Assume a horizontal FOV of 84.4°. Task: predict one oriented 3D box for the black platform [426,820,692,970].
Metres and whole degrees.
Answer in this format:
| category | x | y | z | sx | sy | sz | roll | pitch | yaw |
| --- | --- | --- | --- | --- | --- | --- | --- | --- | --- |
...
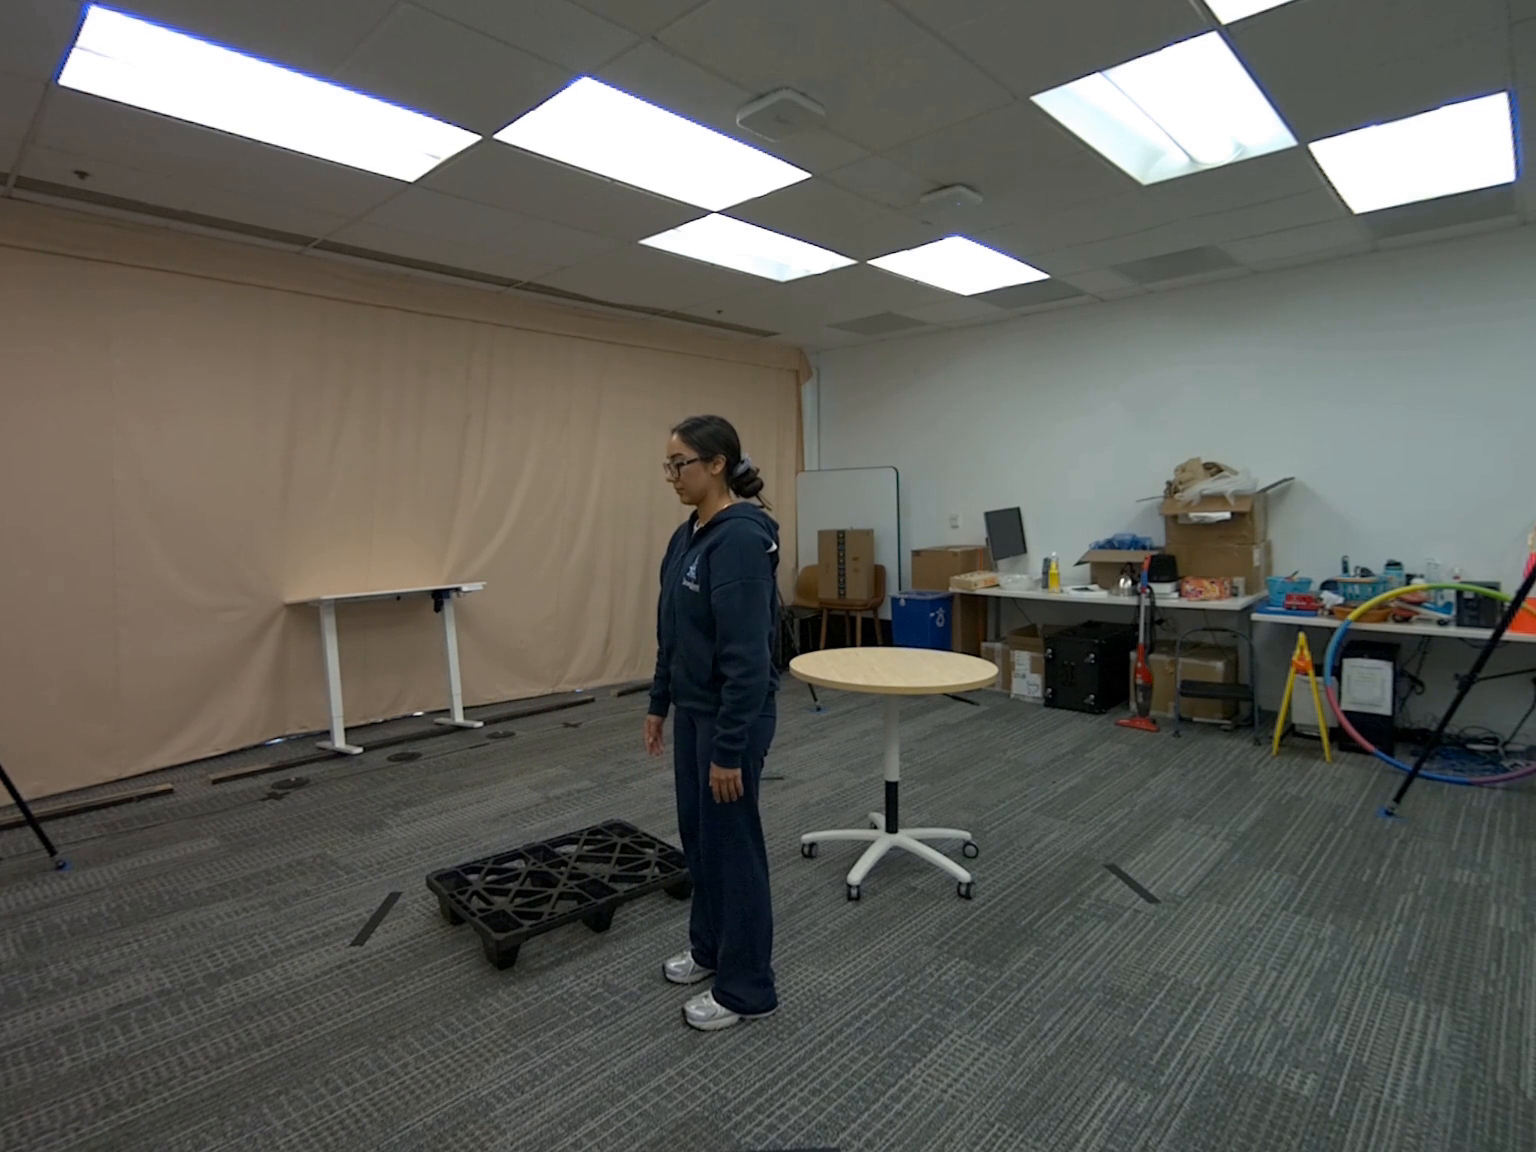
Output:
| category | x | y | z | sx | sy | sz | roll | pitch | yaw |
| --- | --- | --- | --- | --- | --- | --- | --- | --- | --- |
| black platform | -0.697 | 1.096 | 2.953 | 0.782 | 0.143 | 0.625 | -6 | 7 | -40 |
